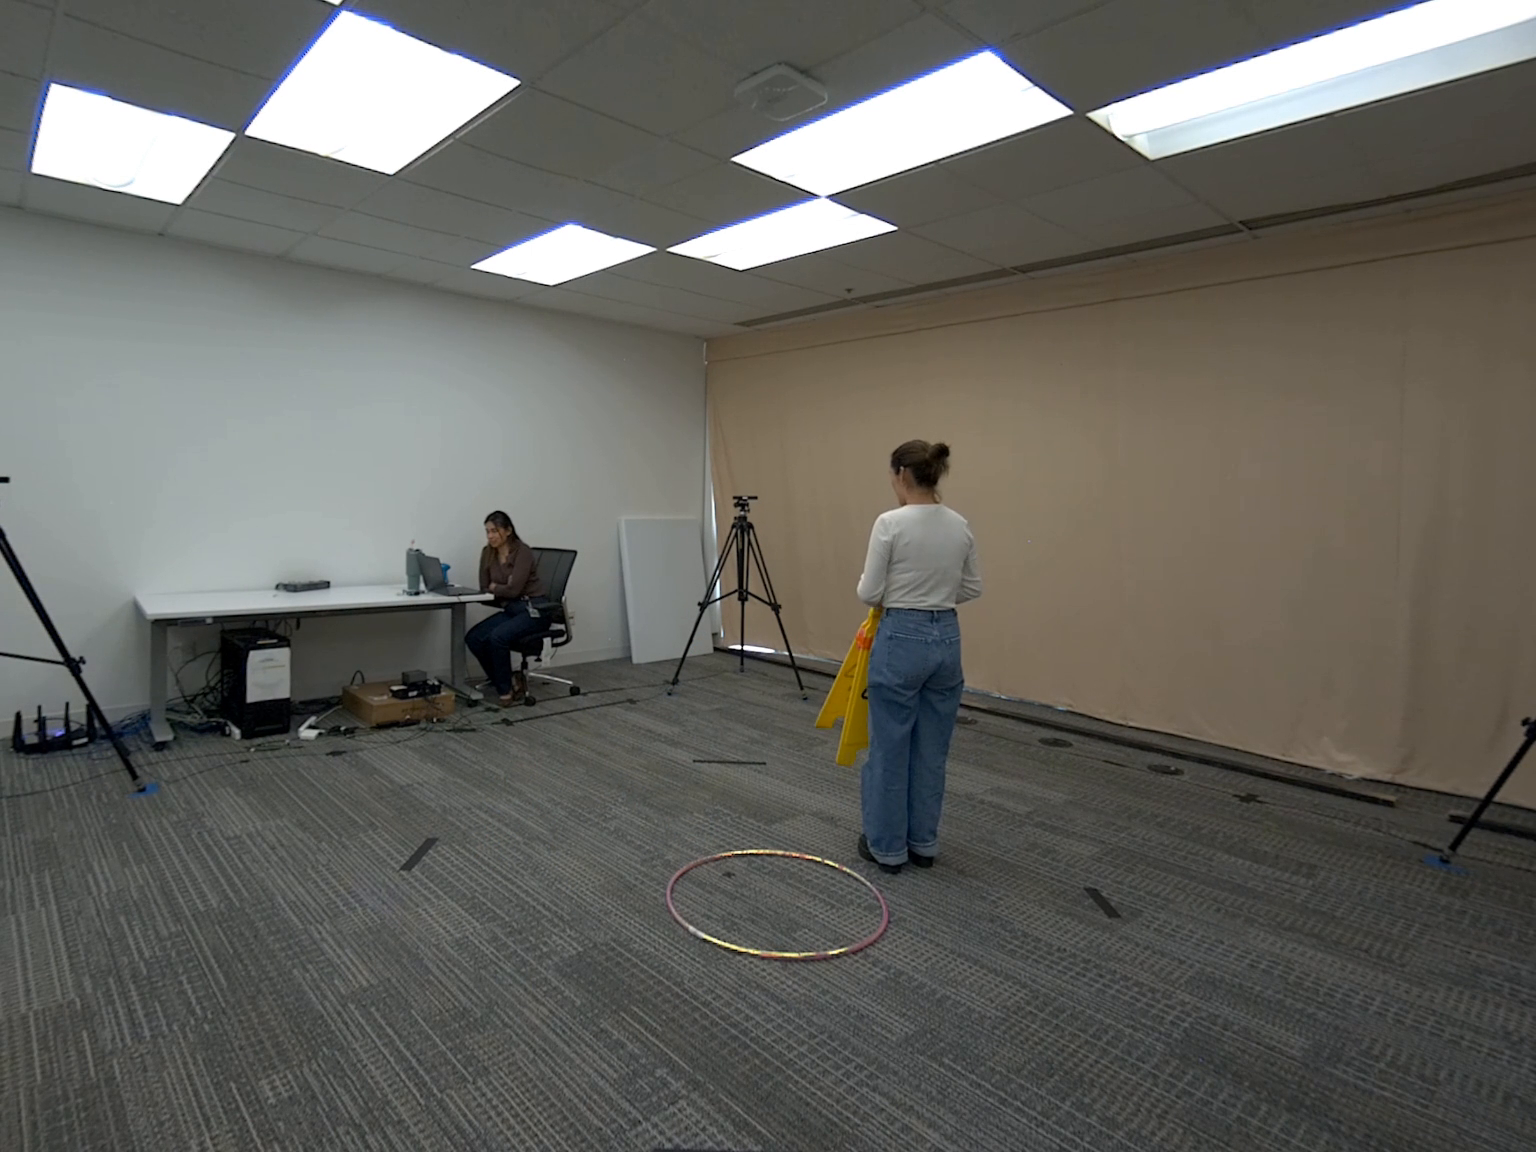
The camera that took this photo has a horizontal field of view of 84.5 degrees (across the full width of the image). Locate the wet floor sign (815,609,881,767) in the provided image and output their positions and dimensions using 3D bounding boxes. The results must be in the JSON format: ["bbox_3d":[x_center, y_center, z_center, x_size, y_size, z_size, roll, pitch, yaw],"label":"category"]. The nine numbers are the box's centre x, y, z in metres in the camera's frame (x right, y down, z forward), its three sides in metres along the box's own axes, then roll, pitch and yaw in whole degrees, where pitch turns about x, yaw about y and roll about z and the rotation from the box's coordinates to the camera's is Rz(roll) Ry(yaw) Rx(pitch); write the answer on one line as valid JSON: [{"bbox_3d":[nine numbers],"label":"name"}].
[{"bbox_3d":[0.429,0.434,3.456,0.278,0.640,0.297,8,18,-18],"label":"wet floor sign"}]
